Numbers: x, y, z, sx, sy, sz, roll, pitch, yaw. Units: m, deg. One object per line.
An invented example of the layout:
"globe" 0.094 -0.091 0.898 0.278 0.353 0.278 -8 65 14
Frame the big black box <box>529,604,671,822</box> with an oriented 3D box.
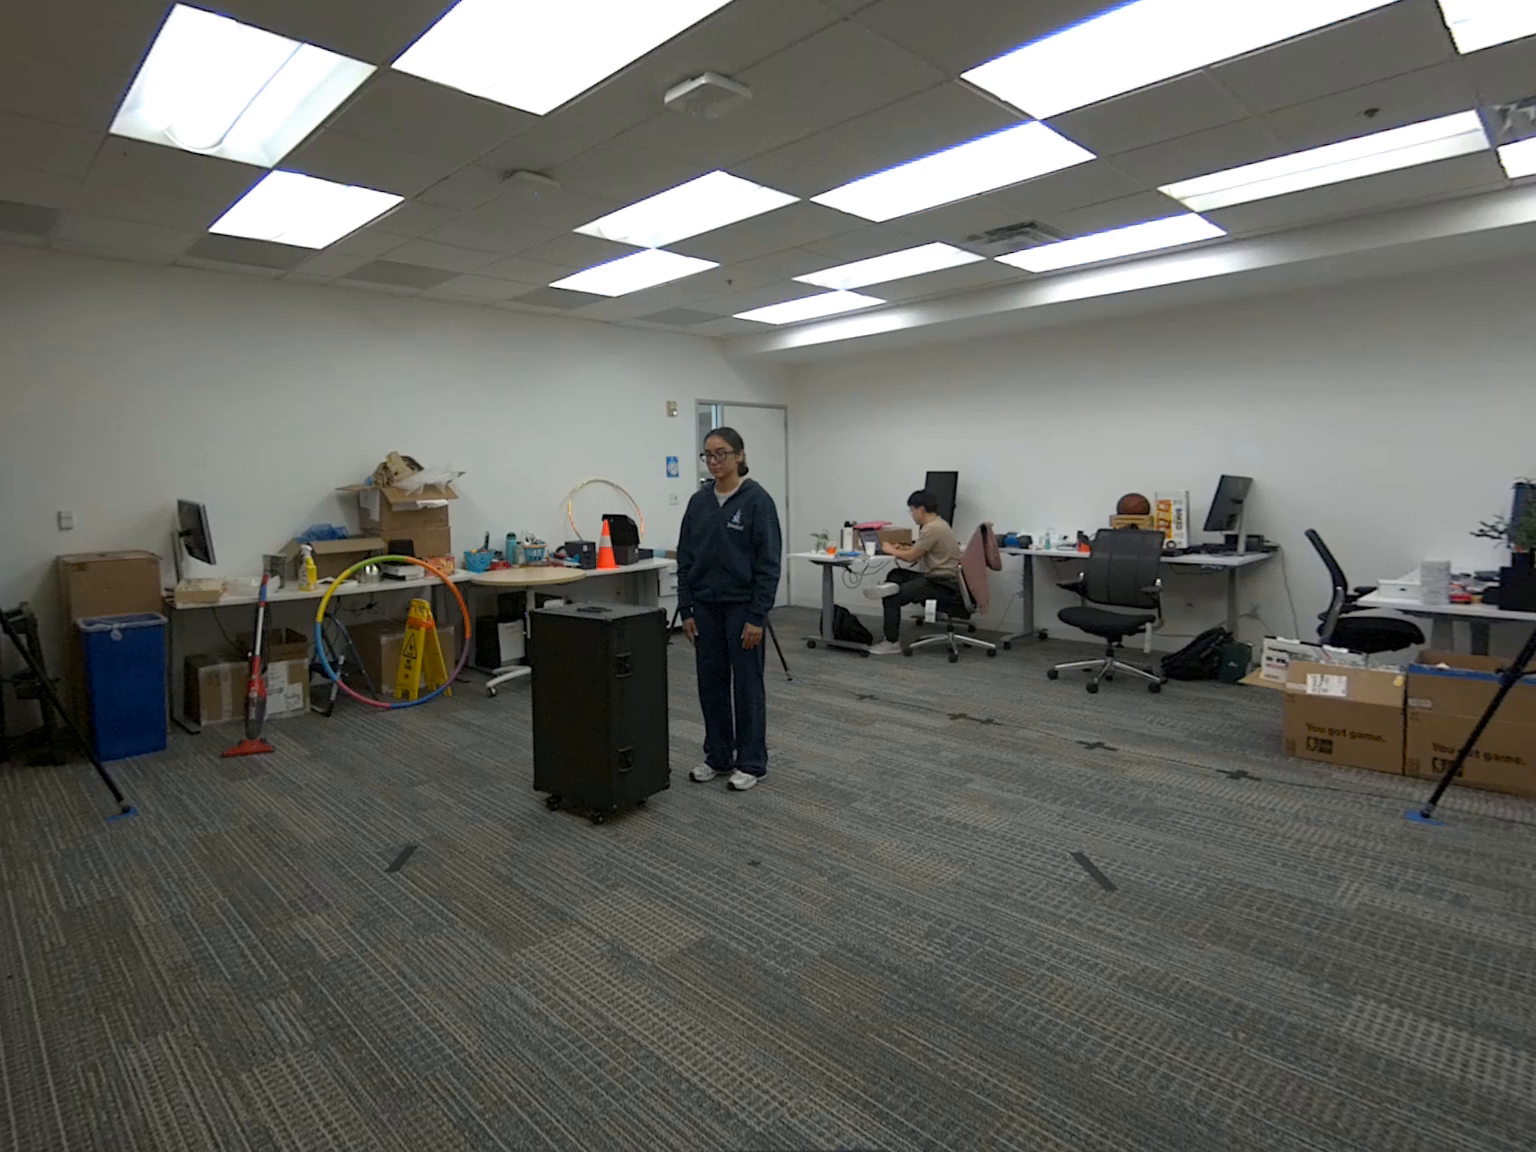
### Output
"big black box" -0.725 0.564 3.690 0.536 0.859 0.386 2 3 38
